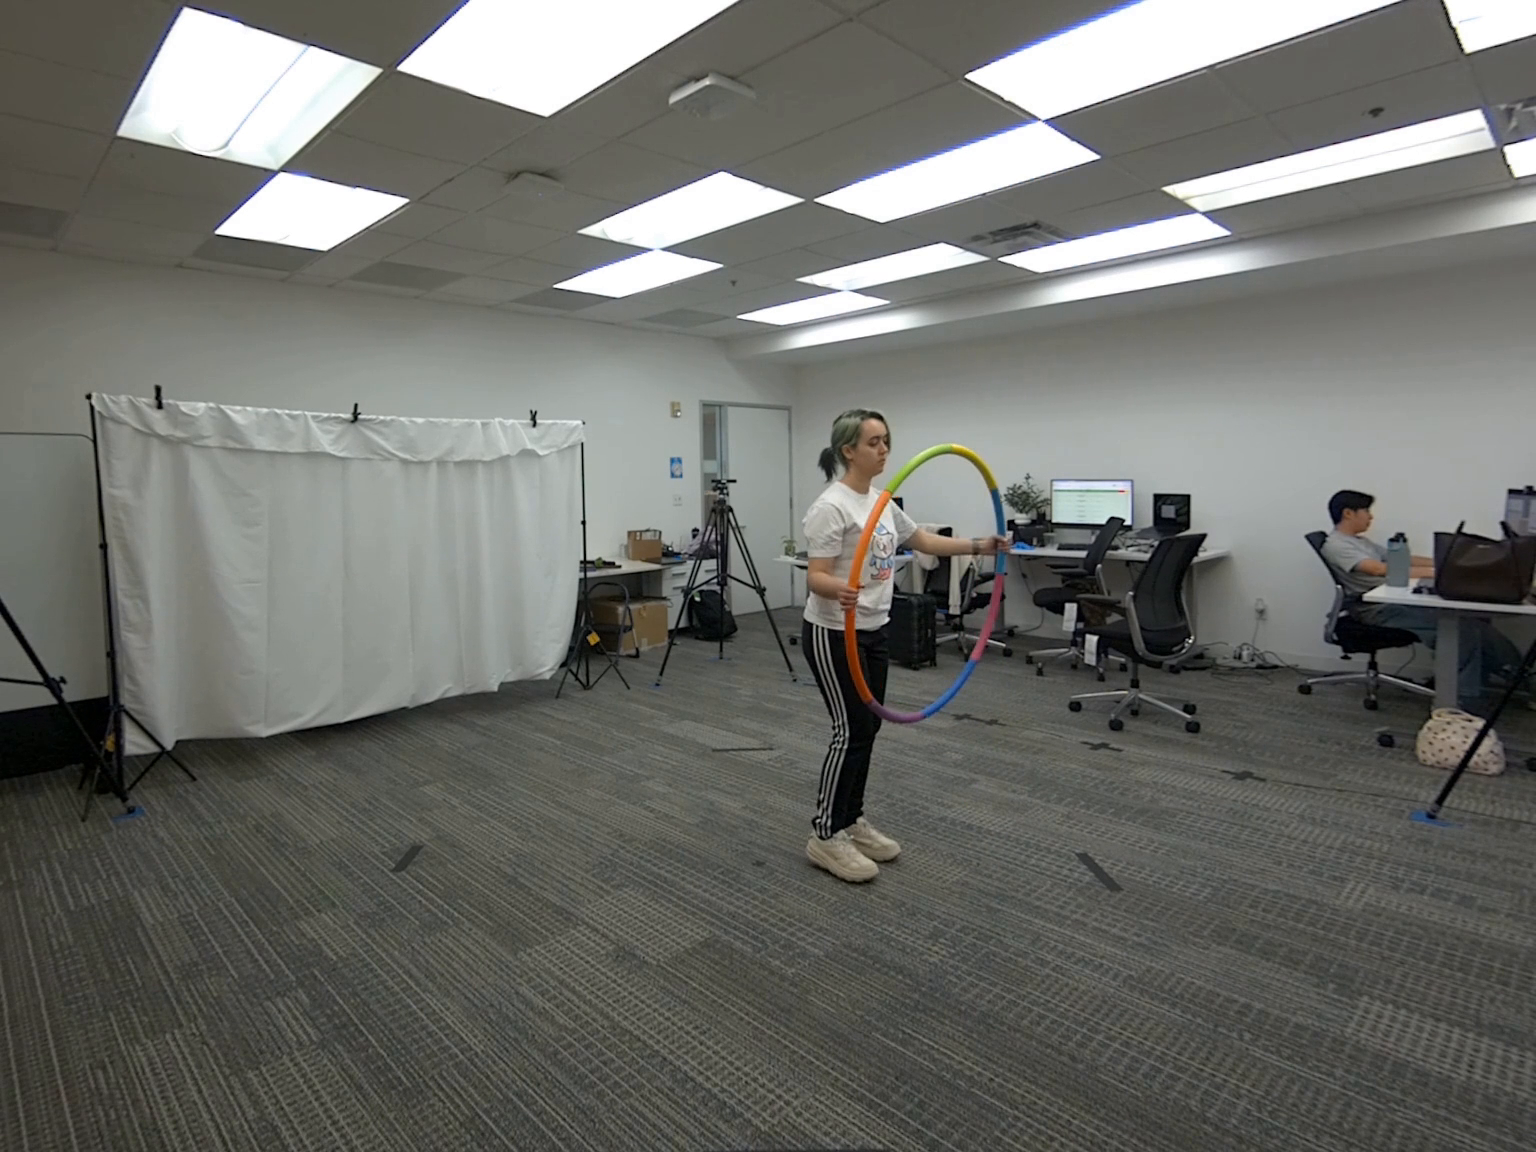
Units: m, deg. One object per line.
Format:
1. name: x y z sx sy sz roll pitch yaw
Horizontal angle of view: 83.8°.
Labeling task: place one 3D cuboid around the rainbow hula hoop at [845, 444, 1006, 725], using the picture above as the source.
1. rainbow hula hoop: 0.575 0.037 2.982 0.037 0.971 0.953 13 13 43
